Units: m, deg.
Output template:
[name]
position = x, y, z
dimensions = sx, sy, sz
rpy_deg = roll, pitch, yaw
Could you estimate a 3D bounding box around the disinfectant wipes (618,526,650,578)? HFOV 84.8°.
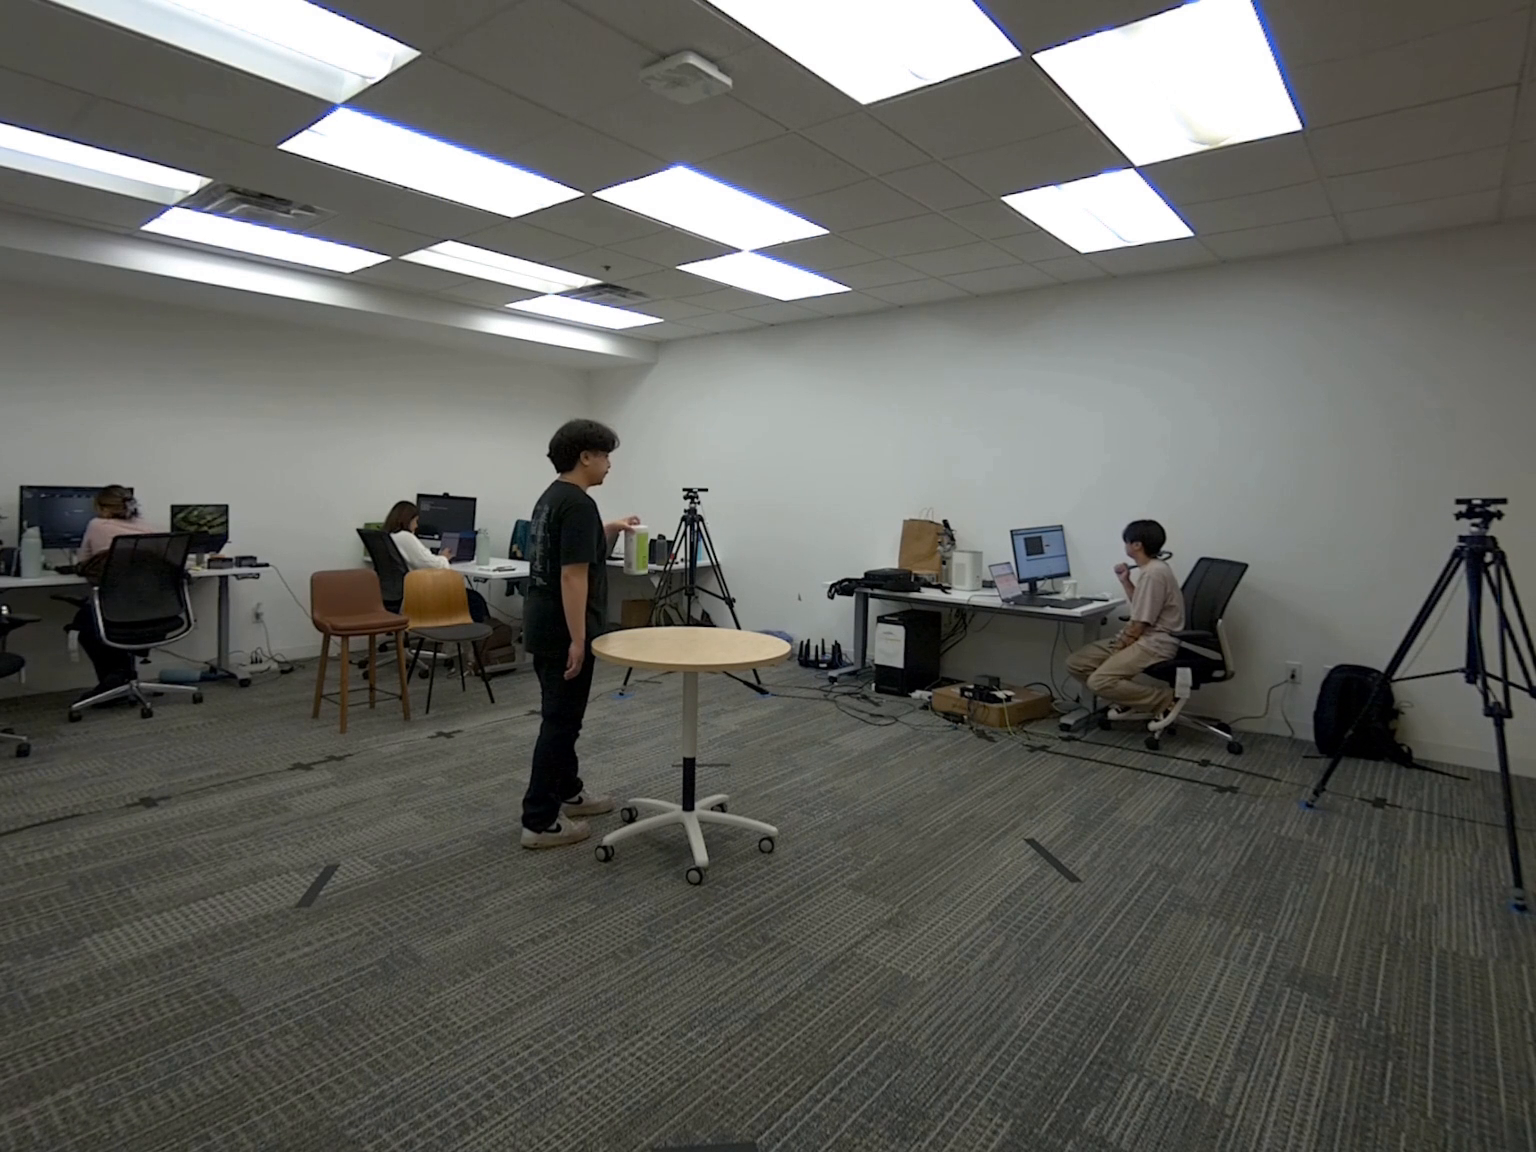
[disinfectant wipes]
position = -0.604, -0.115, 3.786
dimensions = 0.117, 0.216, 0.118
rpy_deg = 3, 5, -2
